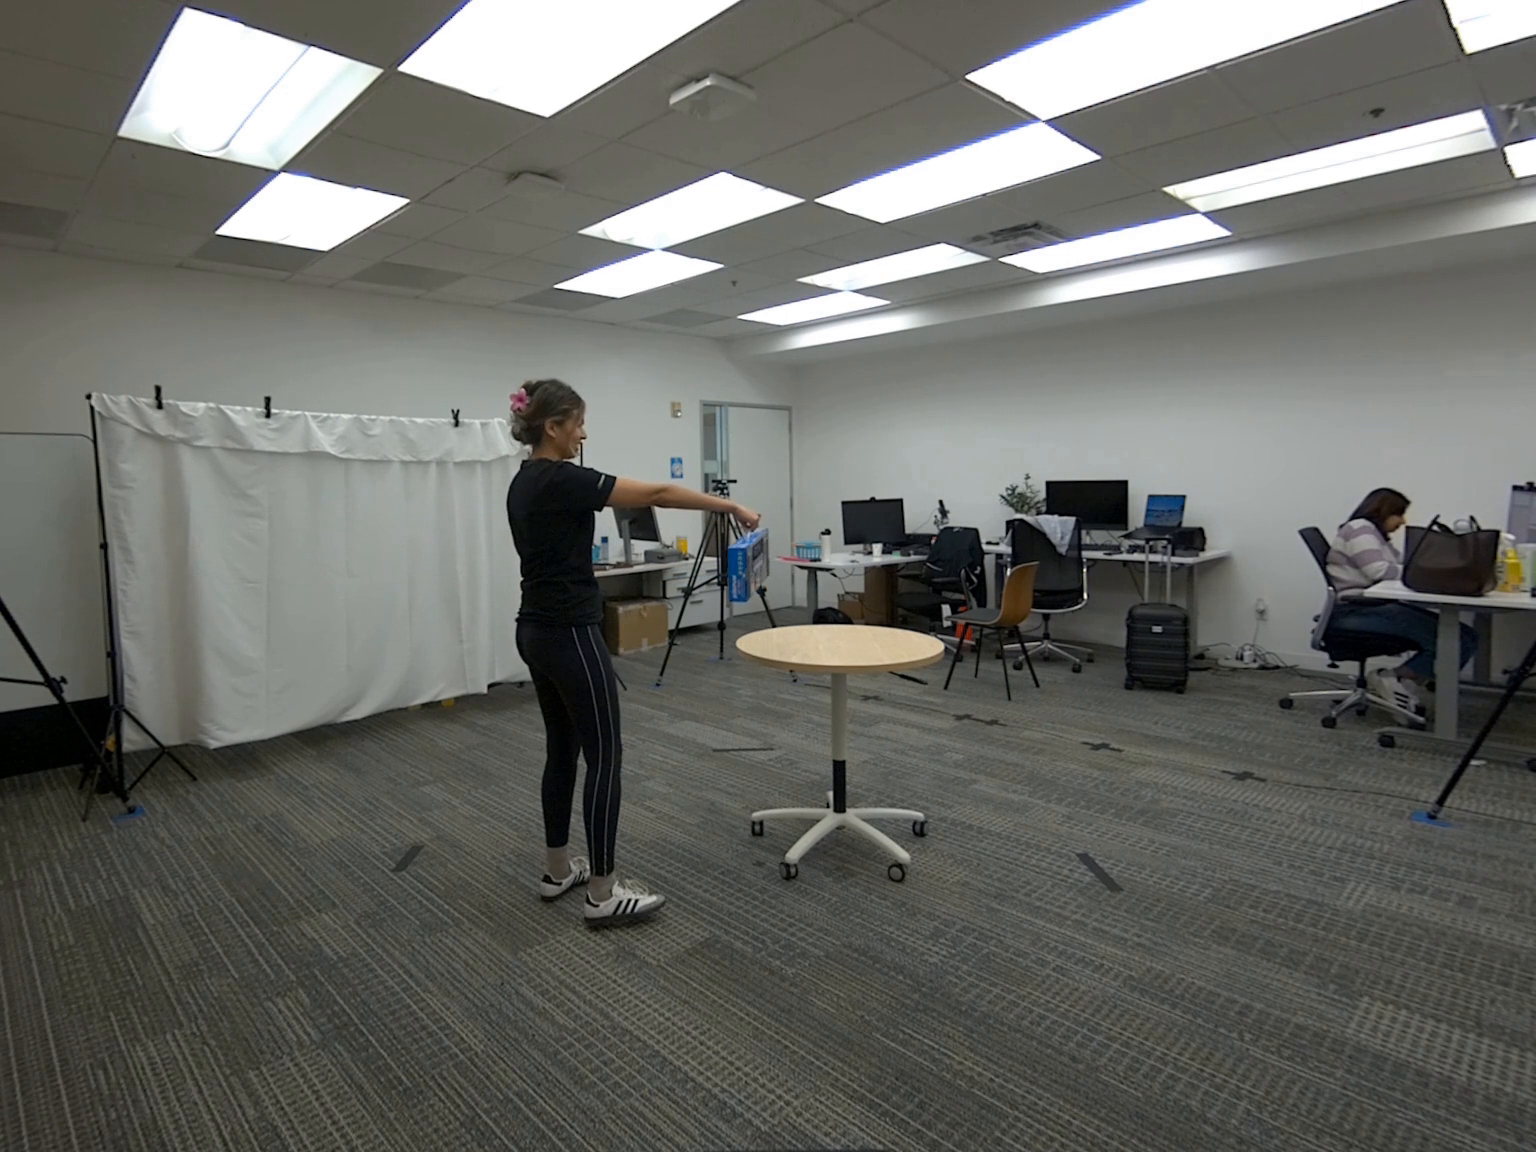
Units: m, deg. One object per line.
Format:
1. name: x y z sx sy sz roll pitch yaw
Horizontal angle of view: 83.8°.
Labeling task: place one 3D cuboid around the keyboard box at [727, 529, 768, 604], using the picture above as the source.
1. keyboard box: -0.058 -0.045 2.843 0.060 0.174 0.436 0 11 10
